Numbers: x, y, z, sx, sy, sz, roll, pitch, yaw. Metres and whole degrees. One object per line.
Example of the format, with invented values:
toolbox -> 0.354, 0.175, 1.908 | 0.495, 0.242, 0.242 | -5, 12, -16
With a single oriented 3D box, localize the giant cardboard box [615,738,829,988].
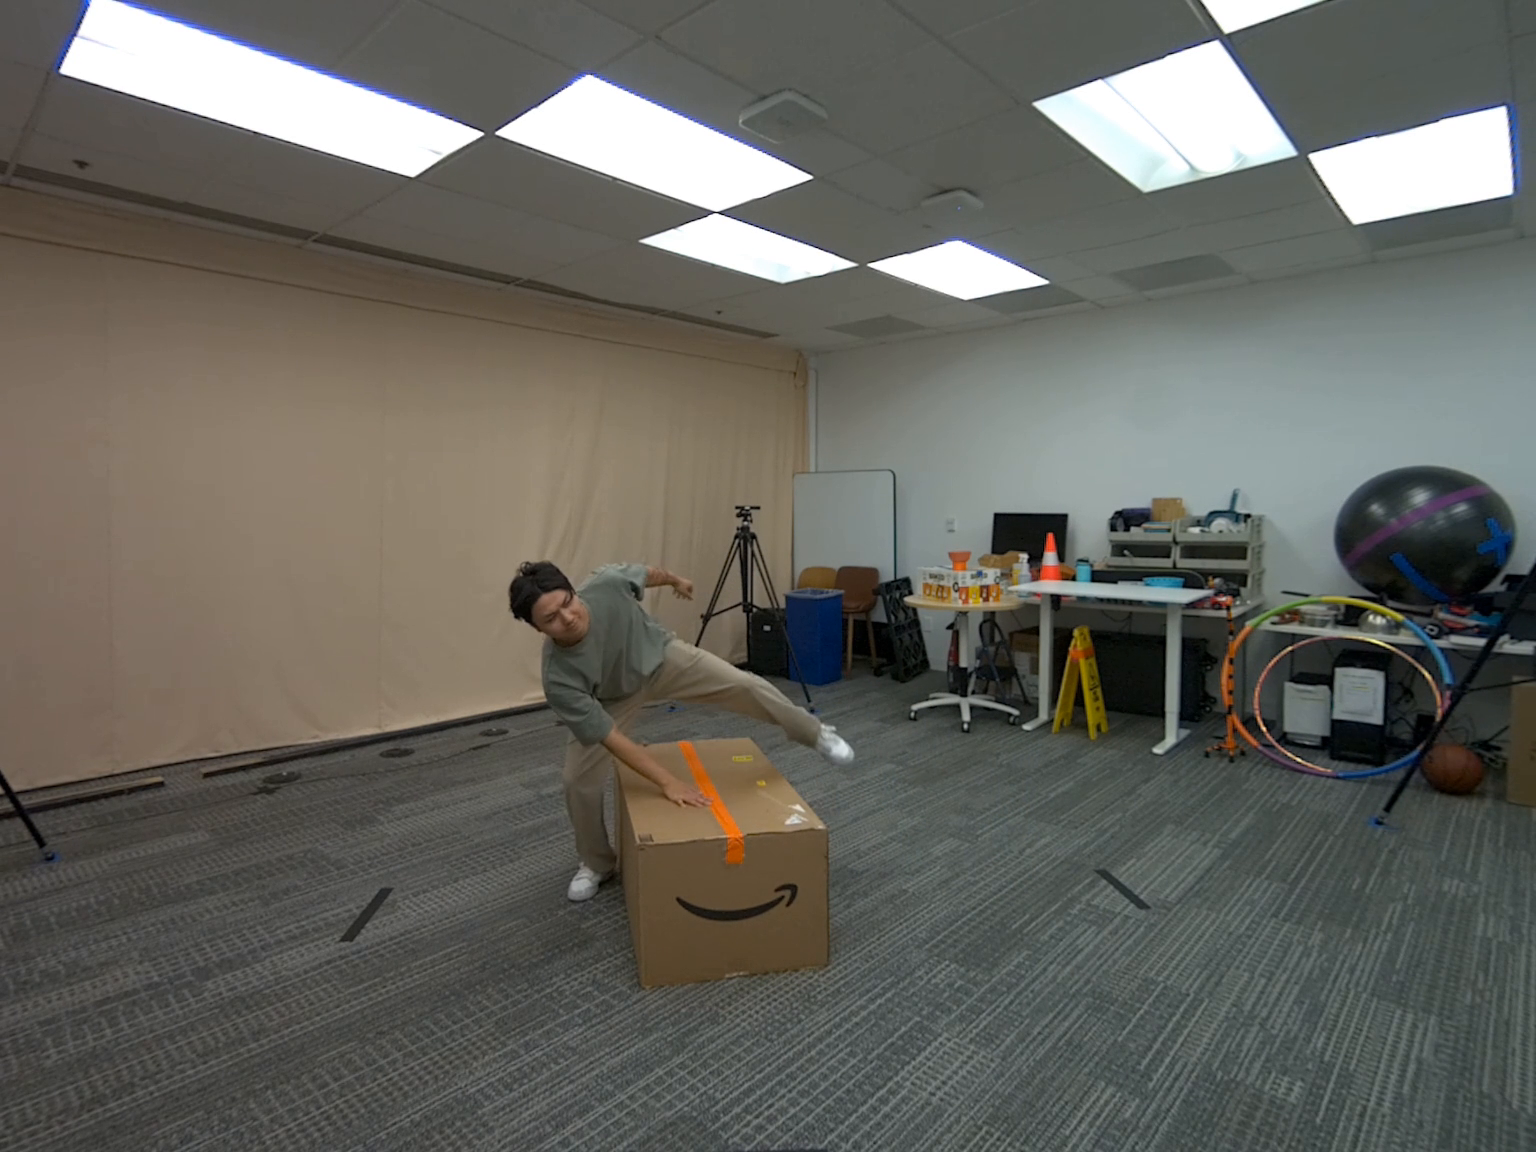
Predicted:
giant cardboard box -> -0.219, 0.932, 2.972 | 0.570, 0.425, 1.042 | -1, 5, -14
